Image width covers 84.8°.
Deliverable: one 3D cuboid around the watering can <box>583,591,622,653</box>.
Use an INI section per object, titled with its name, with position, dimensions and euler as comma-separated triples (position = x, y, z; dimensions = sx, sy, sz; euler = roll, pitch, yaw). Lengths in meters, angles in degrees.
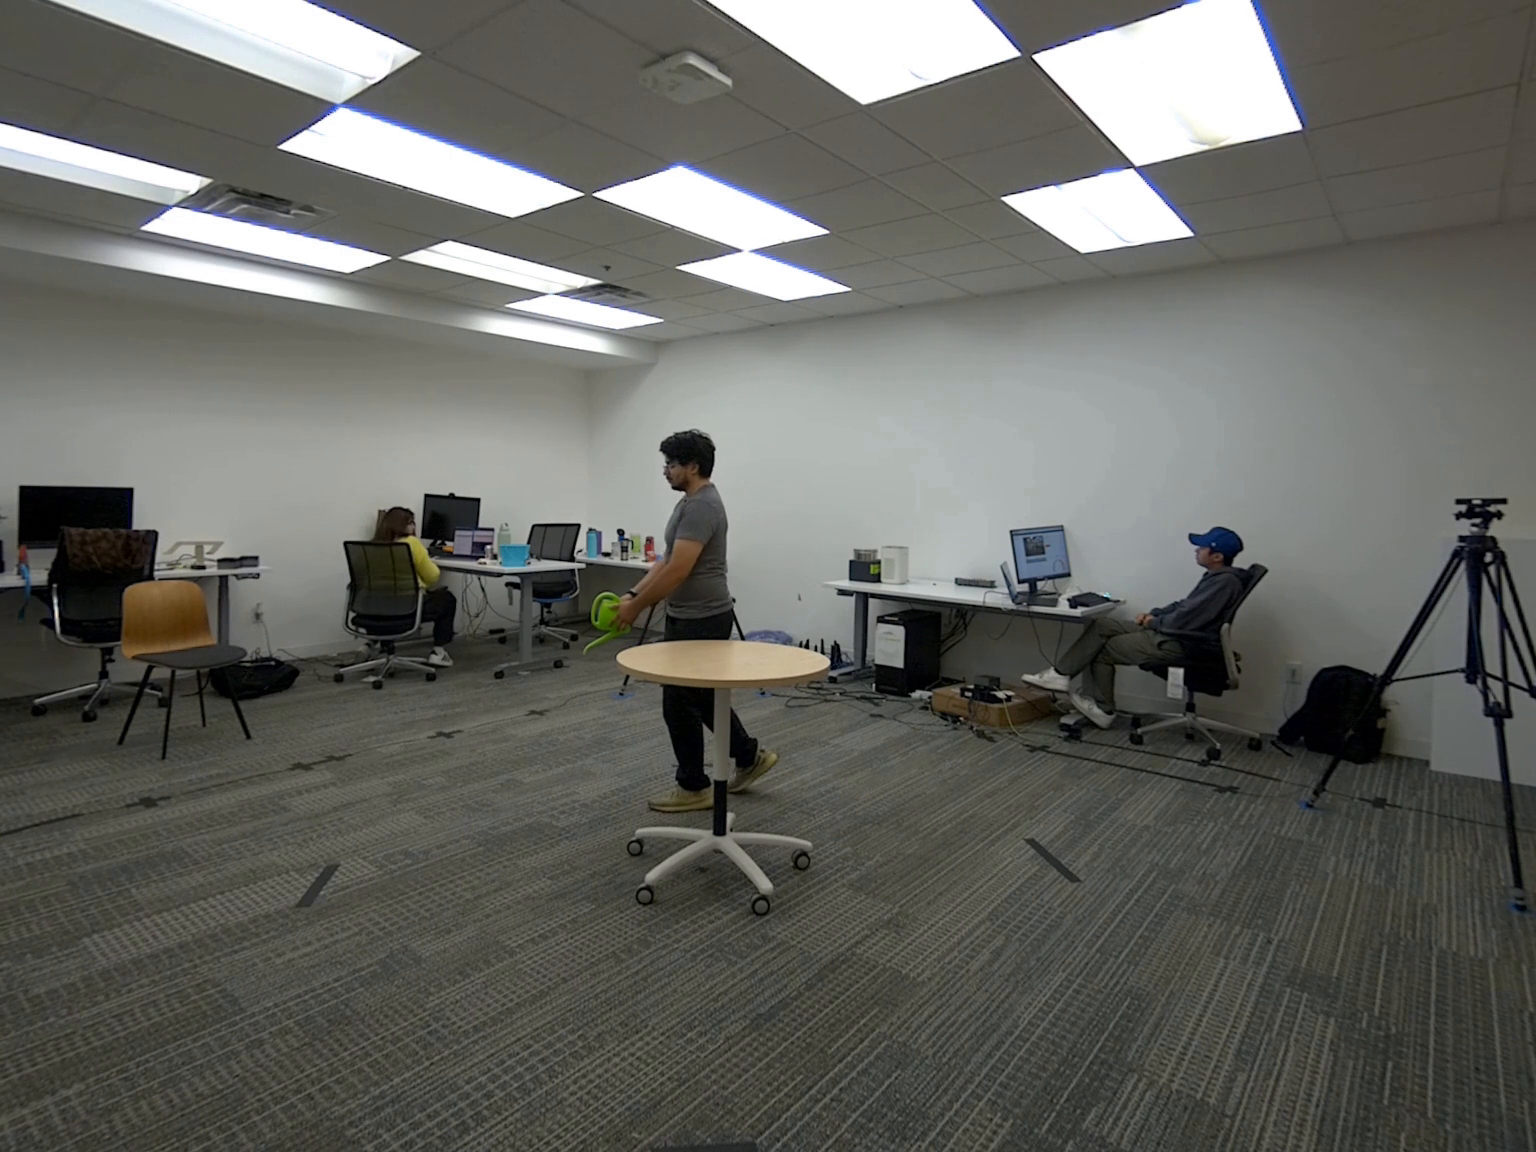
[watering can]
position = -0.696, 0.207, 3.676
dimensions = 0.173, 0.276, 0.101
euler = 11, 13, -17
